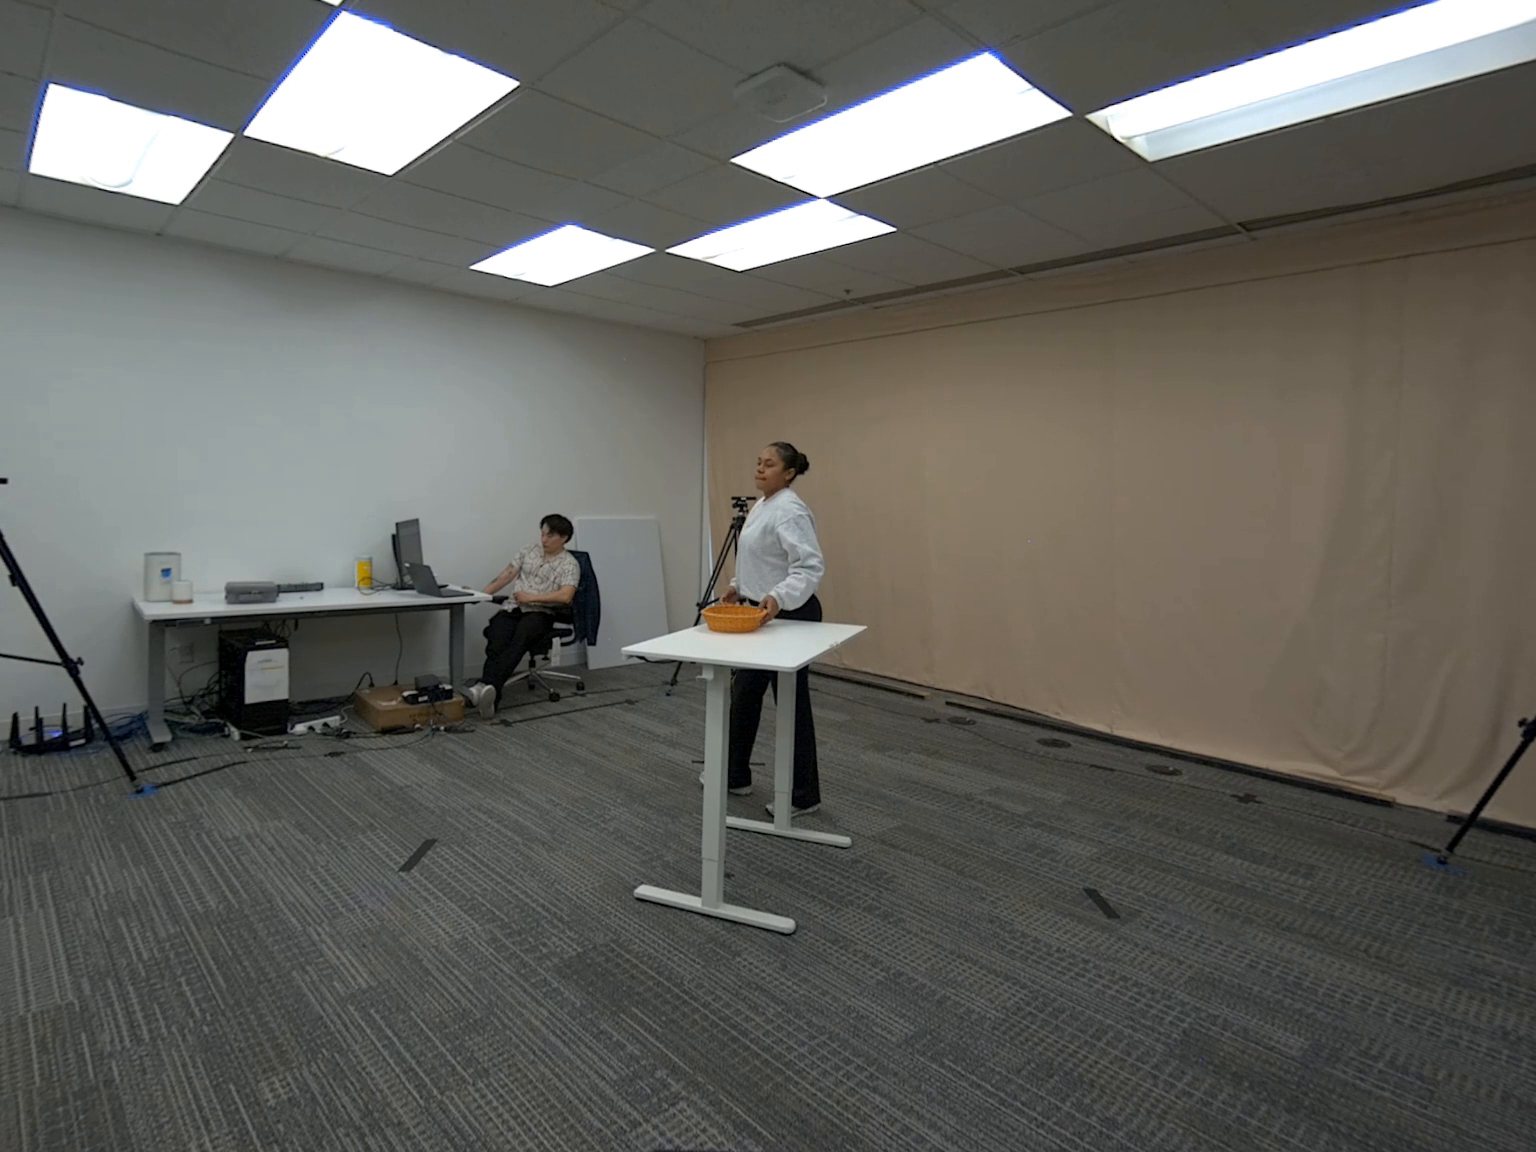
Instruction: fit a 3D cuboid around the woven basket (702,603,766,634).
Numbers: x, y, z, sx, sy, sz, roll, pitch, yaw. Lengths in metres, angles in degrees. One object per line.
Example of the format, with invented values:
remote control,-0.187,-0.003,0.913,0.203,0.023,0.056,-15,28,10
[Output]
woven basket,-0.134,0.176,3.321,0.257,0.073,0.345,4,6,23
